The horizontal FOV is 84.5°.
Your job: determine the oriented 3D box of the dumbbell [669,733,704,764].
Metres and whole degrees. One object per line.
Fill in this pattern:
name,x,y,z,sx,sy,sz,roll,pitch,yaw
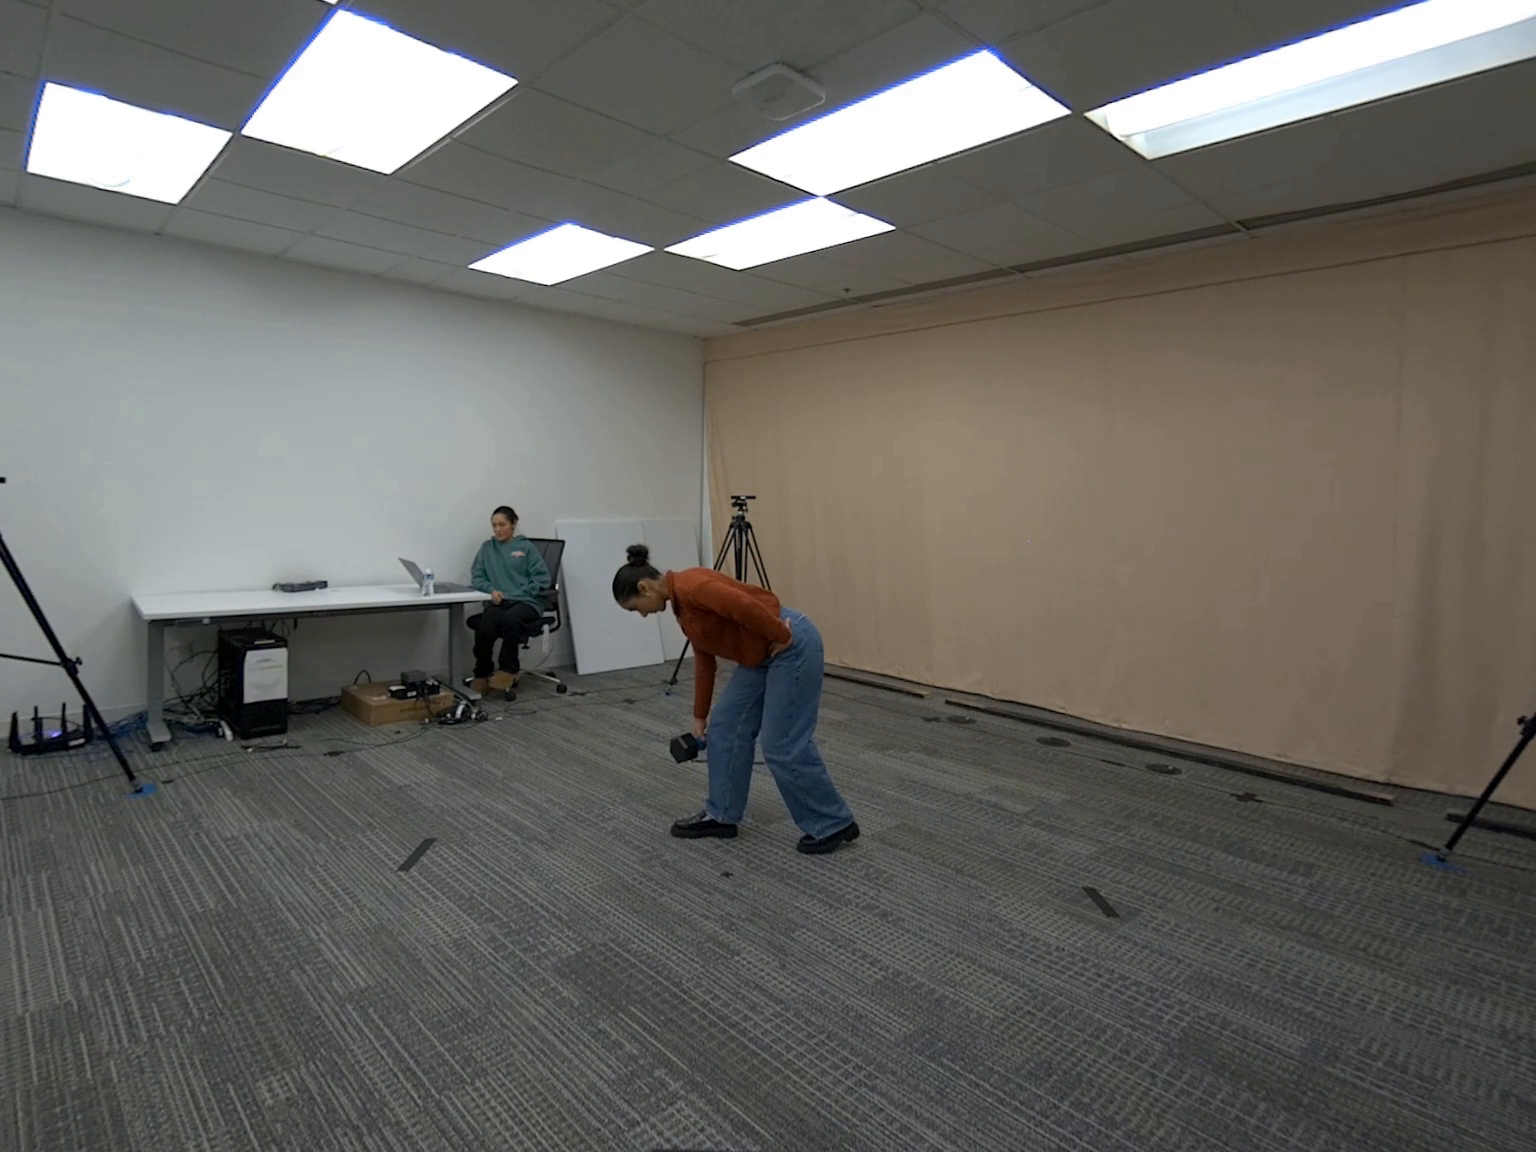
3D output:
dumbbell,-0.281,0.699,3.556,0.287,0.122,0.112,-8,18,-44
